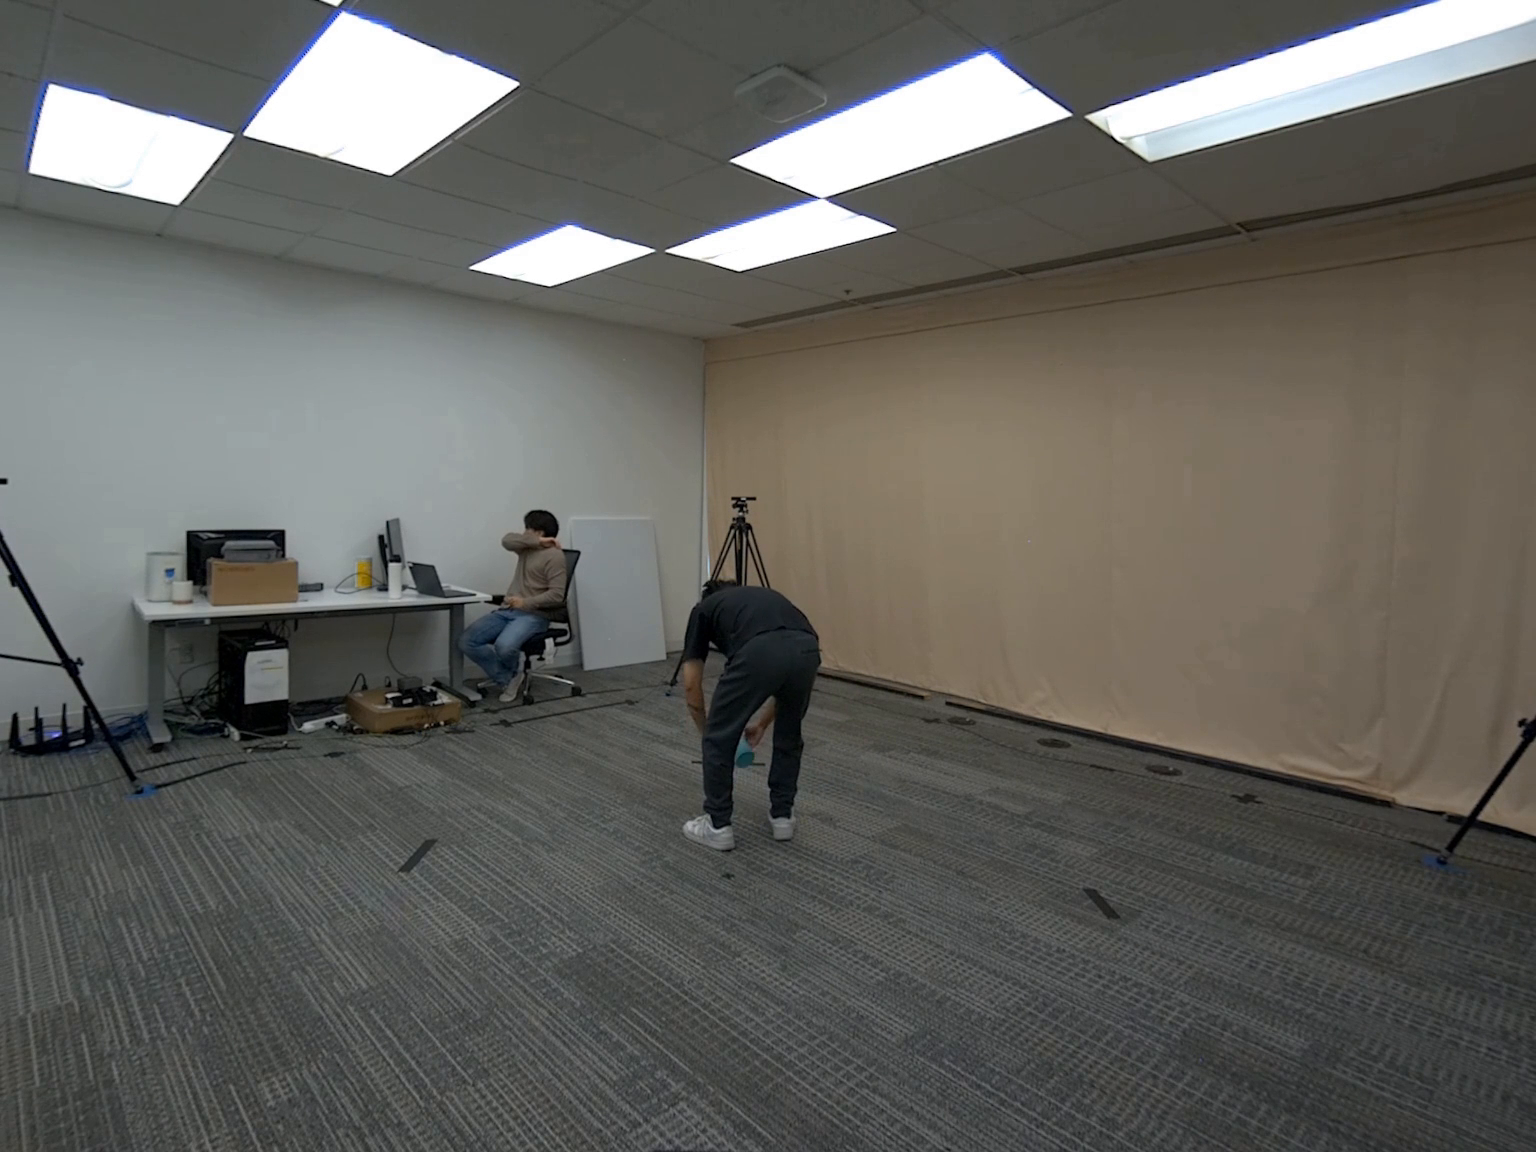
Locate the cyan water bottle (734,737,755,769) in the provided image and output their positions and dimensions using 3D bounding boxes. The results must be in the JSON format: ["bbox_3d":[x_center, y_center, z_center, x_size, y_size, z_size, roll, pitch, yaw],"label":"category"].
[{"bbox_3d":[-0.154,0.706,3.657,0.090,0.091,0.292,-1,27,-28],"label":"cyan water bottle"}]
